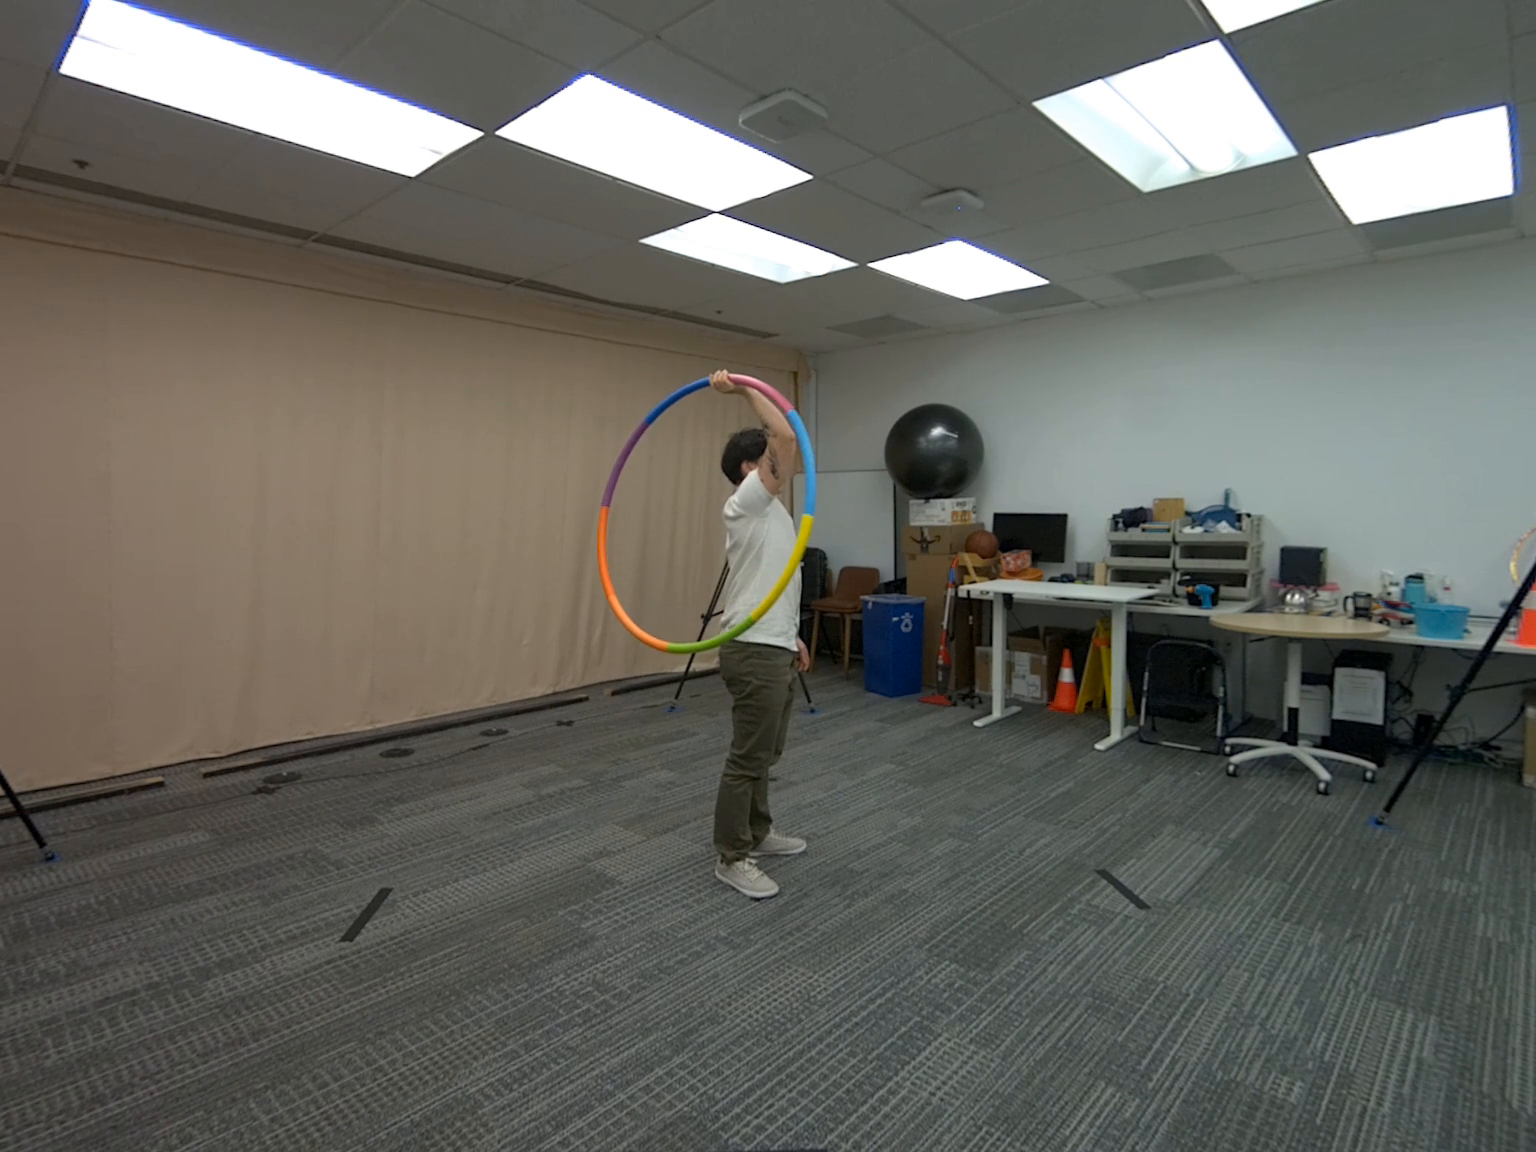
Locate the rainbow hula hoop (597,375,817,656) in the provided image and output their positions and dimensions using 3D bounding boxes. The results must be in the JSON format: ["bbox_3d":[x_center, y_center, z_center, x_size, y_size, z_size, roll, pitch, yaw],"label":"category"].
[{"bbox_3d":[-0.228,-0.230,2.935,1.011,0.982,0.034,3,-10,39],"label":"rainbow hula hoop"}]
